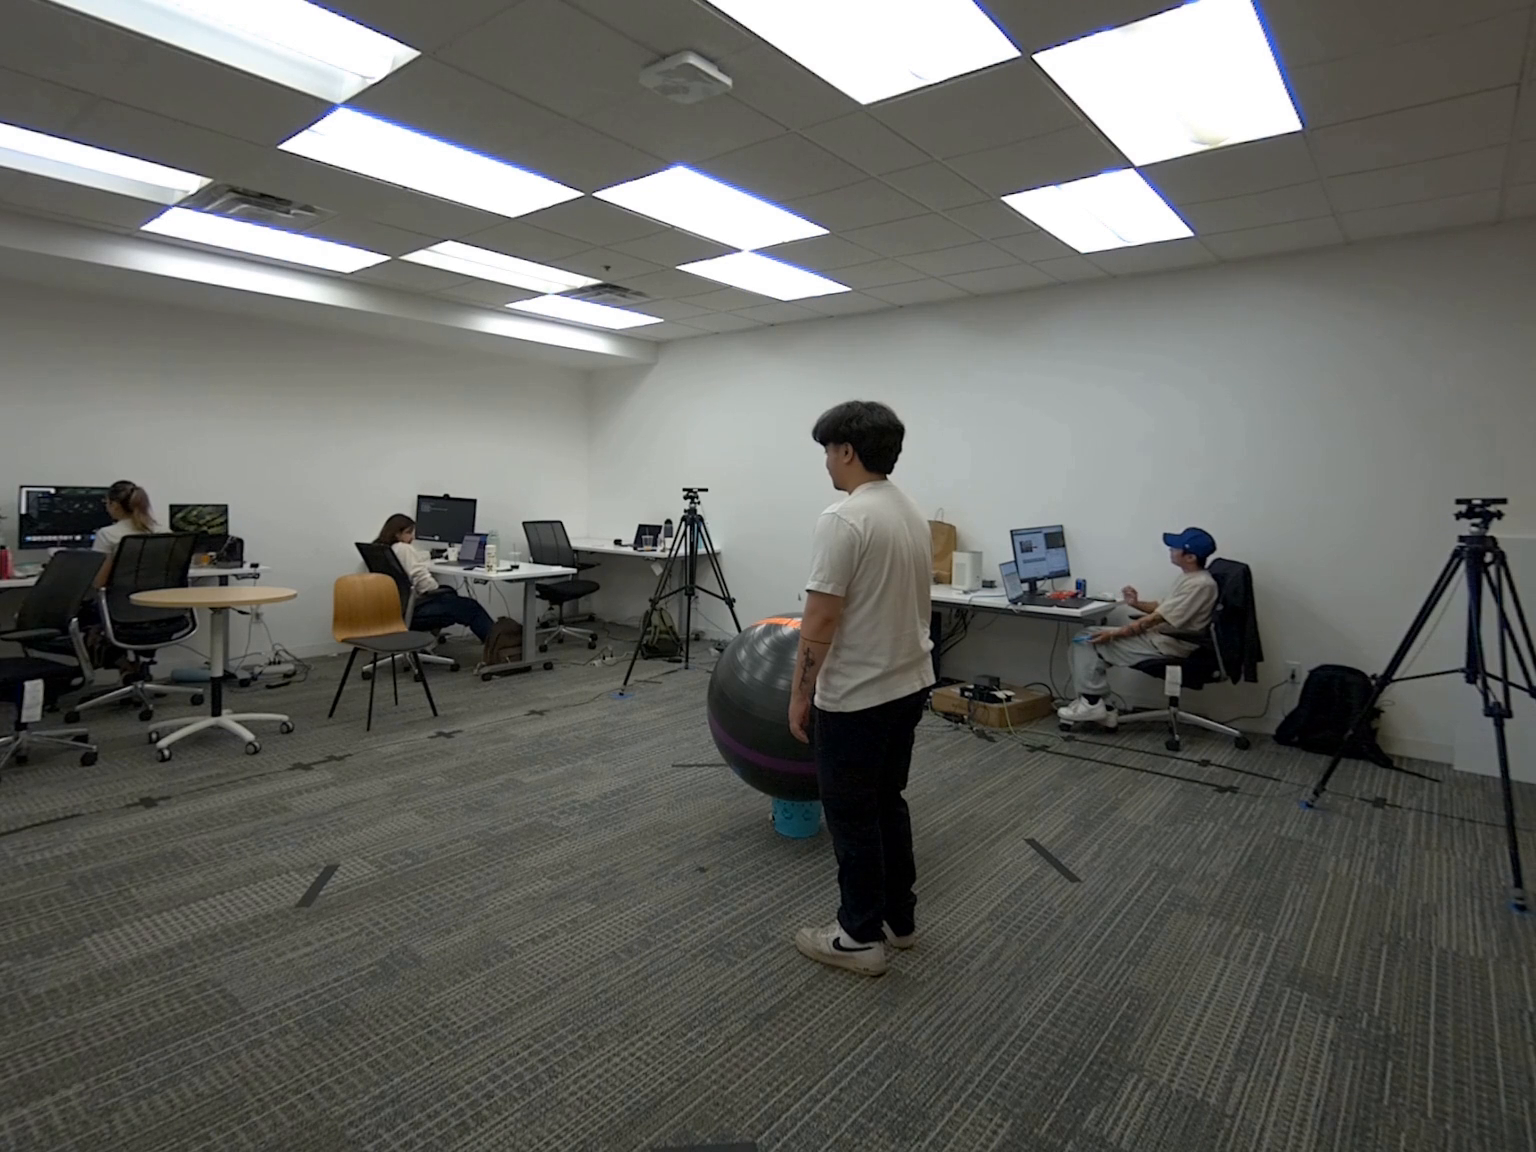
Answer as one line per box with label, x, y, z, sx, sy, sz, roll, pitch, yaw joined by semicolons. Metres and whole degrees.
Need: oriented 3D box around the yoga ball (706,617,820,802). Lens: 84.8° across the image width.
yoga ball;0.120;0.530;3.502;0.757;0.756;0.761;1;4;-2
